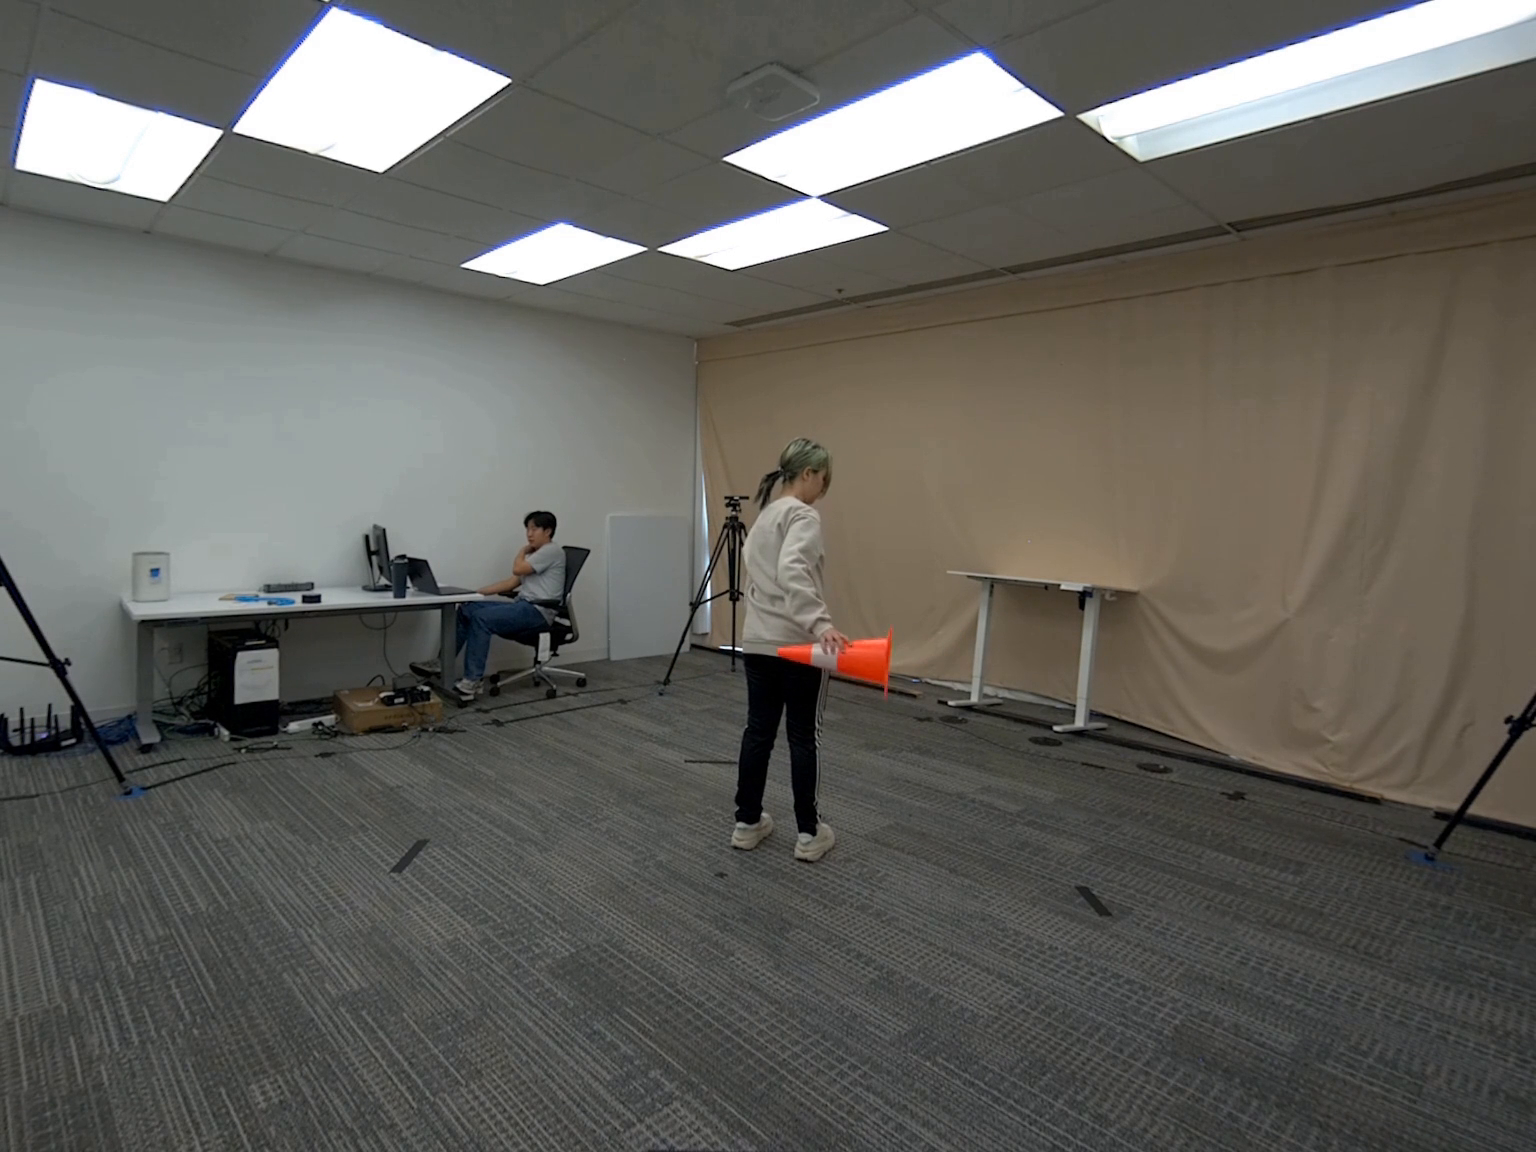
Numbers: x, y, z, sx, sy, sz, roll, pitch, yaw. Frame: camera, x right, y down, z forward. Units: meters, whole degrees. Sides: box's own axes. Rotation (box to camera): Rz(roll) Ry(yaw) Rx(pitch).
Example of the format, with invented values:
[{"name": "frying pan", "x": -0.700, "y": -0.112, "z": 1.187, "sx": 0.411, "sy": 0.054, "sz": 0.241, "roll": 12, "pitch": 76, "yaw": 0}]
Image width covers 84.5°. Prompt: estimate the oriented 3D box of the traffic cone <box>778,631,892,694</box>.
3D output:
[{"name": "traffic cone", "x": 0.218, "y": 0.279, "z": 2.874, "sx": 0.387, "sy": 0.200, "sz": 0.206, "roll": 0, "pitch": 20, "yaw": 10}]
